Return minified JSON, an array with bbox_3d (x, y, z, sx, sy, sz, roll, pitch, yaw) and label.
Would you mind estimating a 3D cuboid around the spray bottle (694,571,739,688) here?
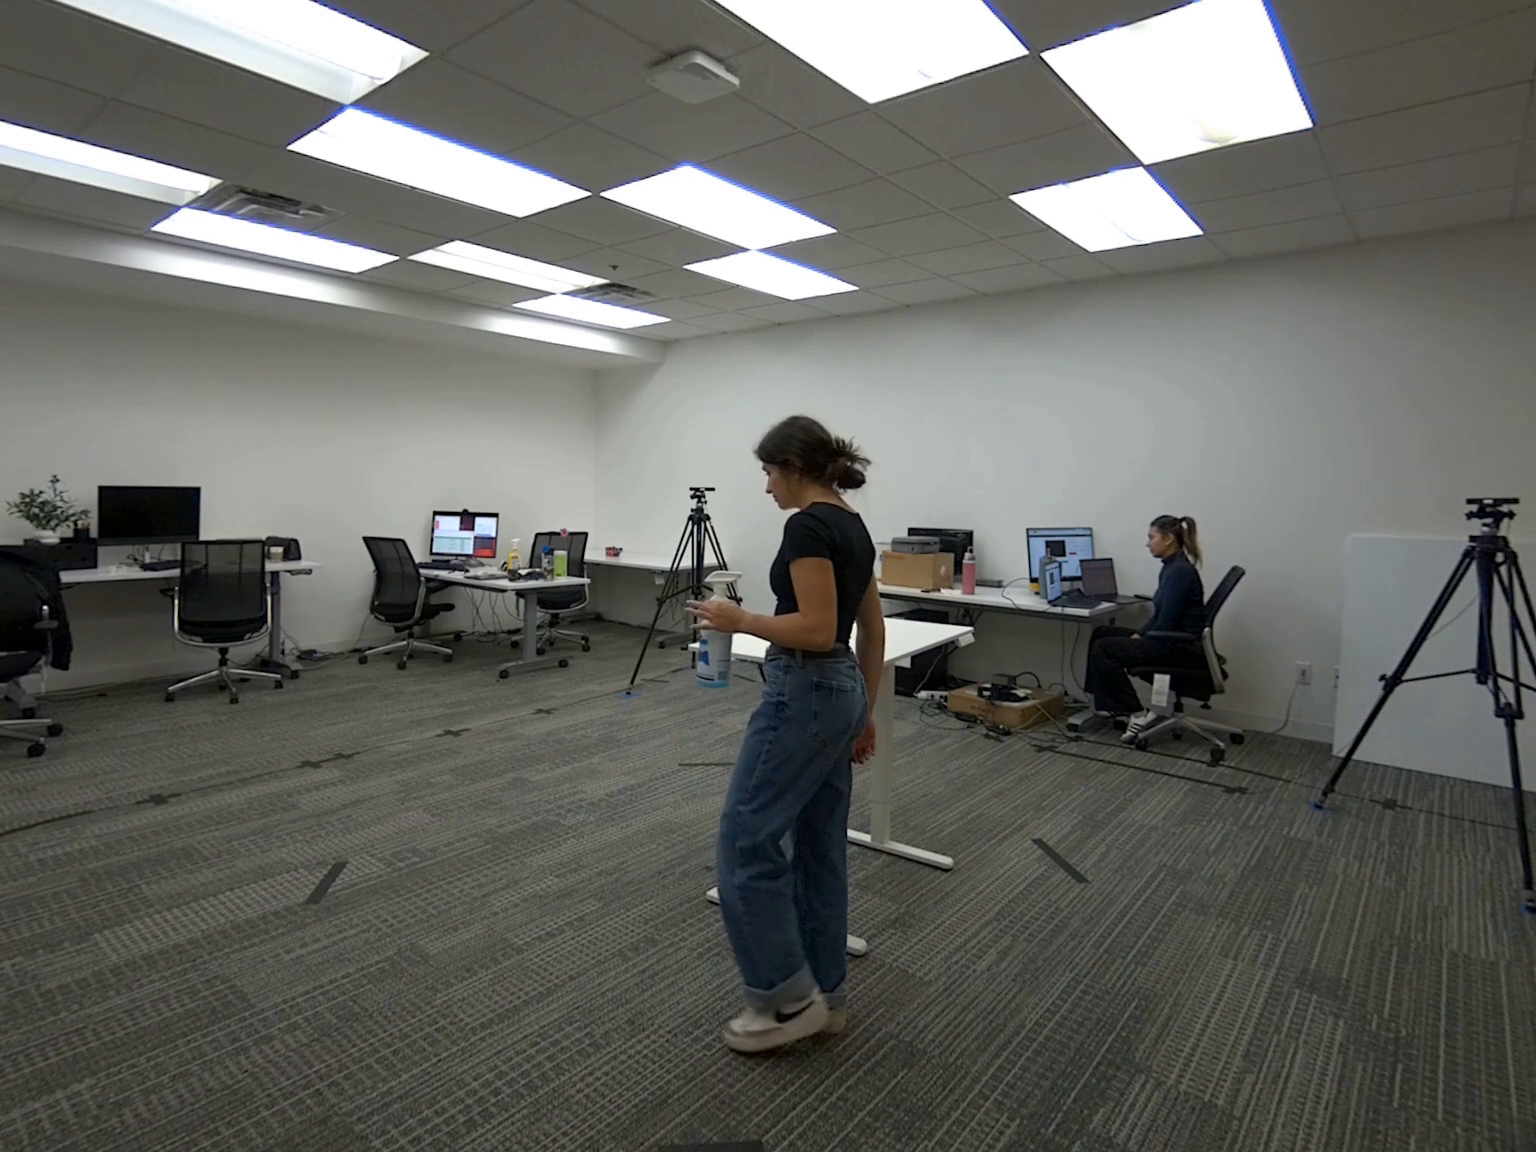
[{"bbox_3d":[-0.134,0.137,2.183,0.092,0.297,0.085,7,1,24],"label":"spray bottle"}]
